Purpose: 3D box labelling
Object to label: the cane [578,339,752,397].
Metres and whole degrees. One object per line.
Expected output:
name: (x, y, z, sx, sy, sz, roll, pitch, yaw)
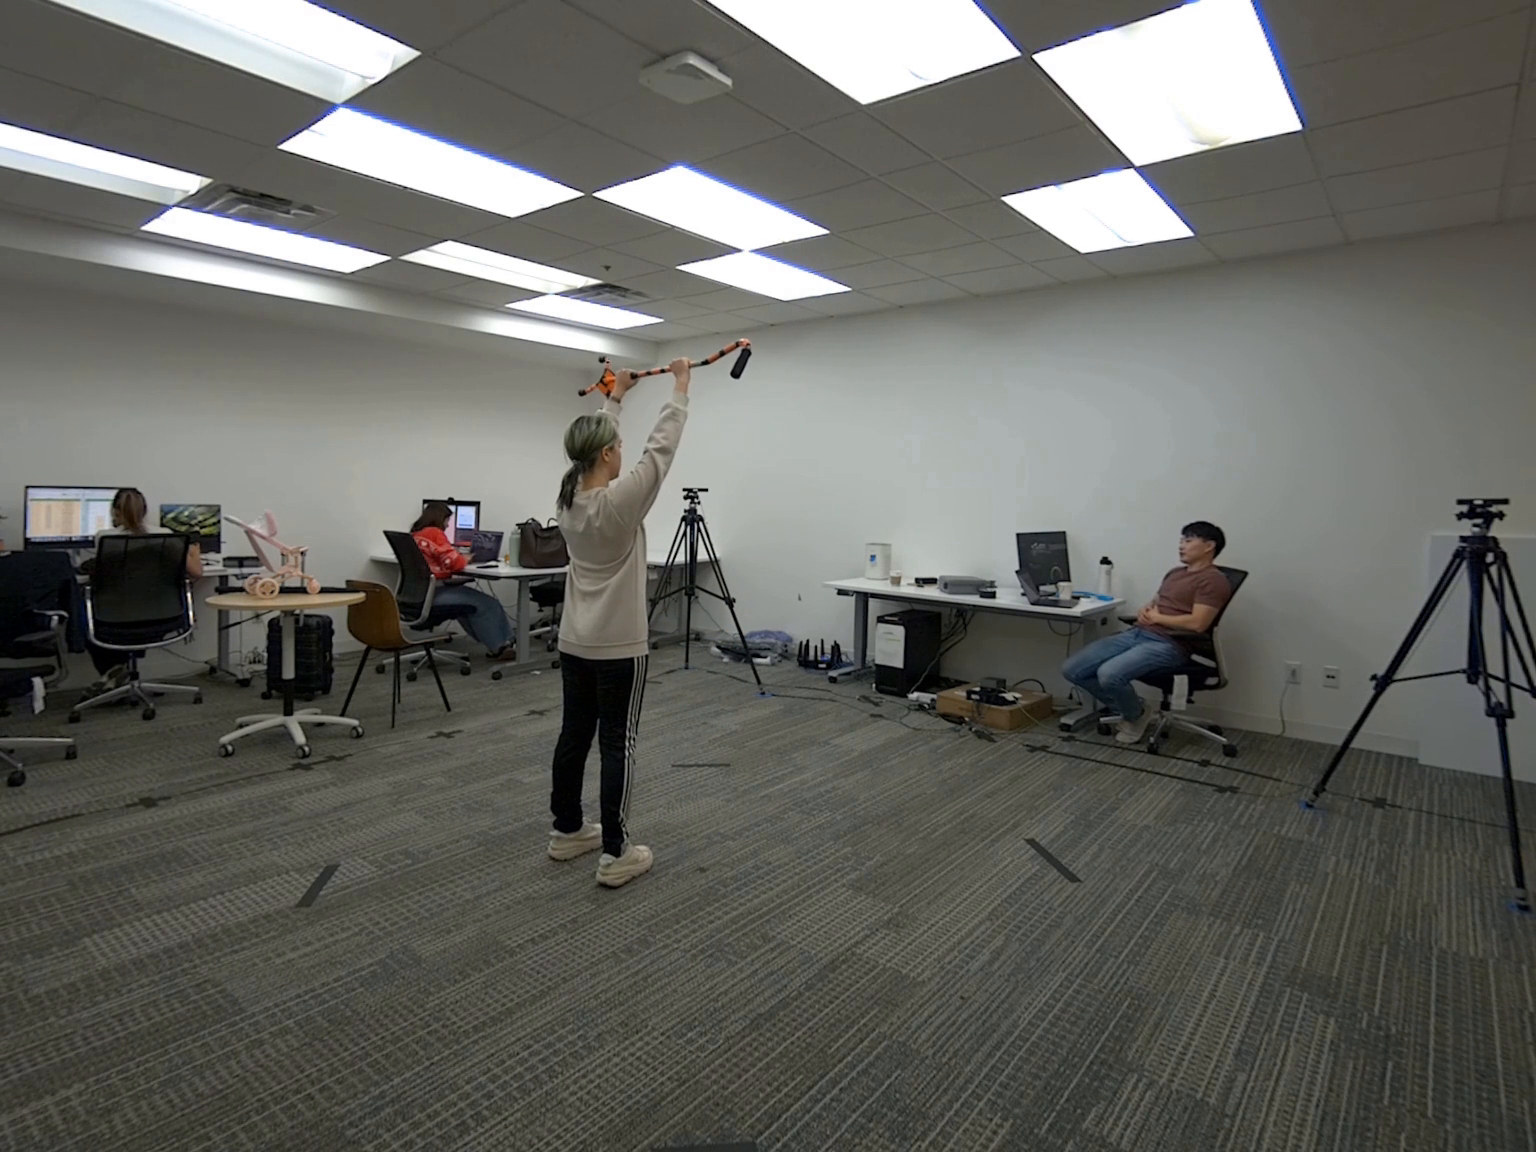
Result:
cane: (-0.380, -0.768, 3.207, 0.939, 0.208, 0.145, 5, -27, 47)
